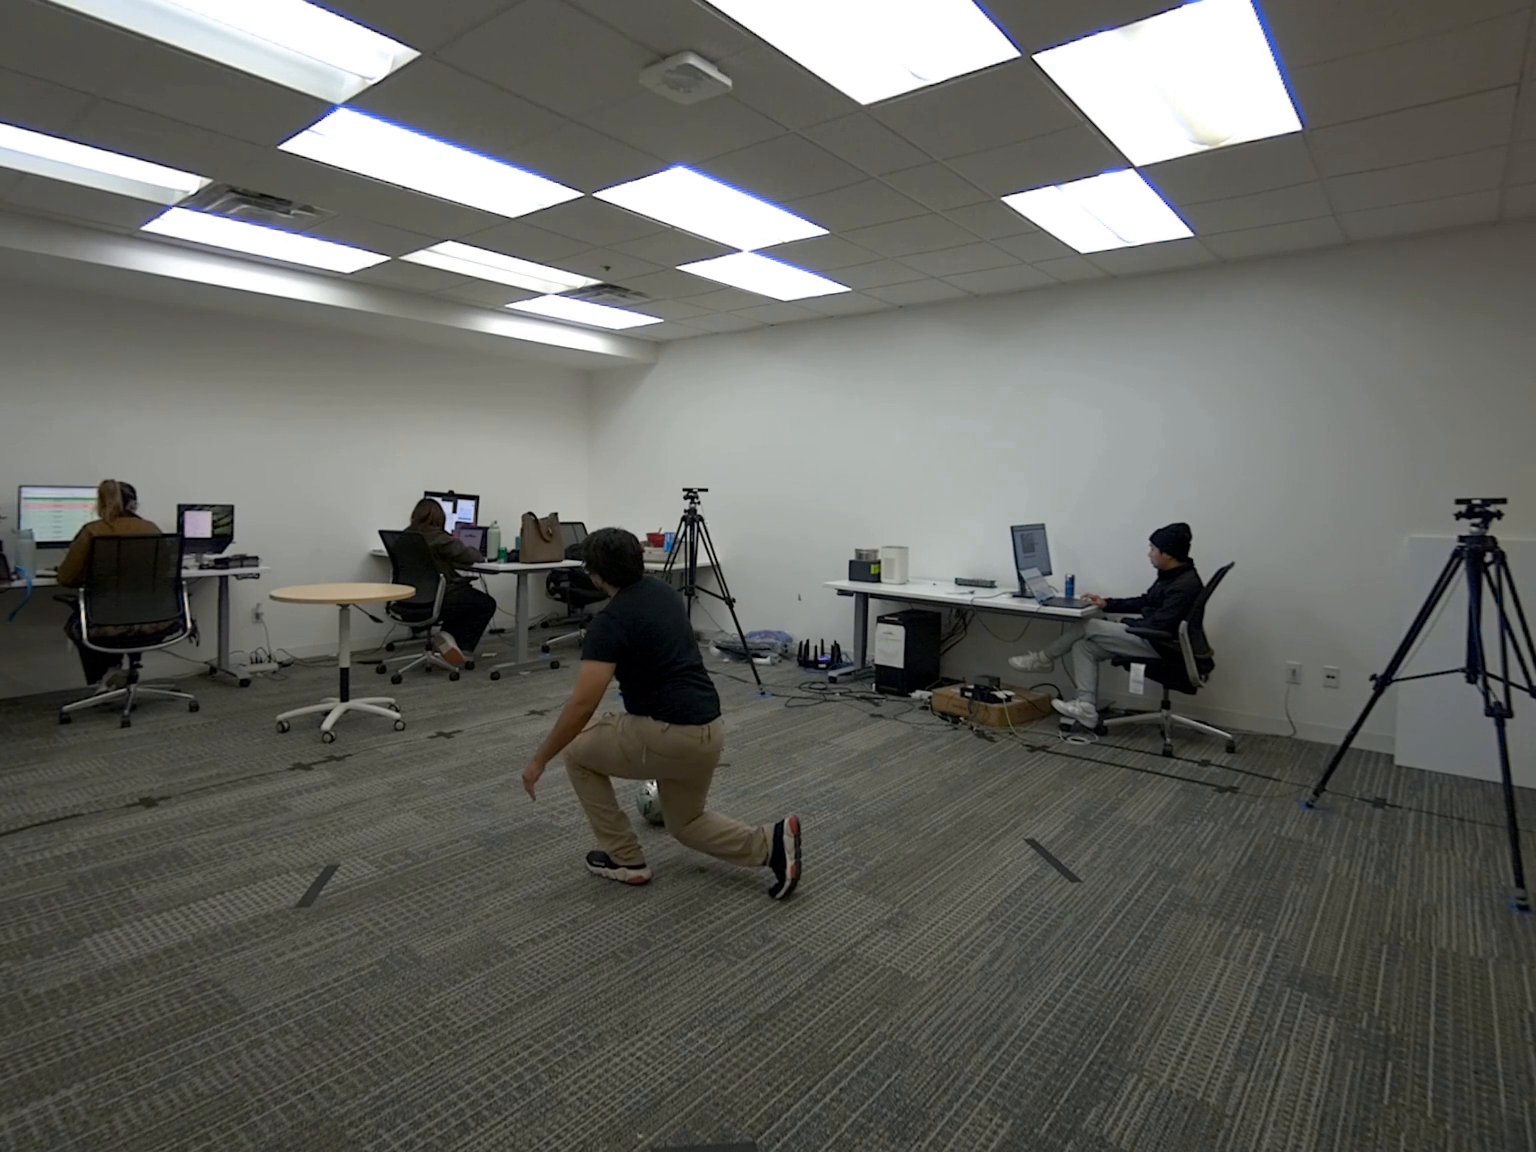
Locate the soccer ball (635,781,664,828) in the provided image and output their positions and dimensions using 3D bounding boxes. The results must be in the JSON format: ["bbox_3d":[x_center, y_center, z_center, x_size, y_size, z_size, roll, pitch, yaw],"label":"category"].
[{"bbox_3d":[-0.467,0.931,3.543,0.187,0.187,0.188,1,4,-2],"label":"soccer ball"}]
